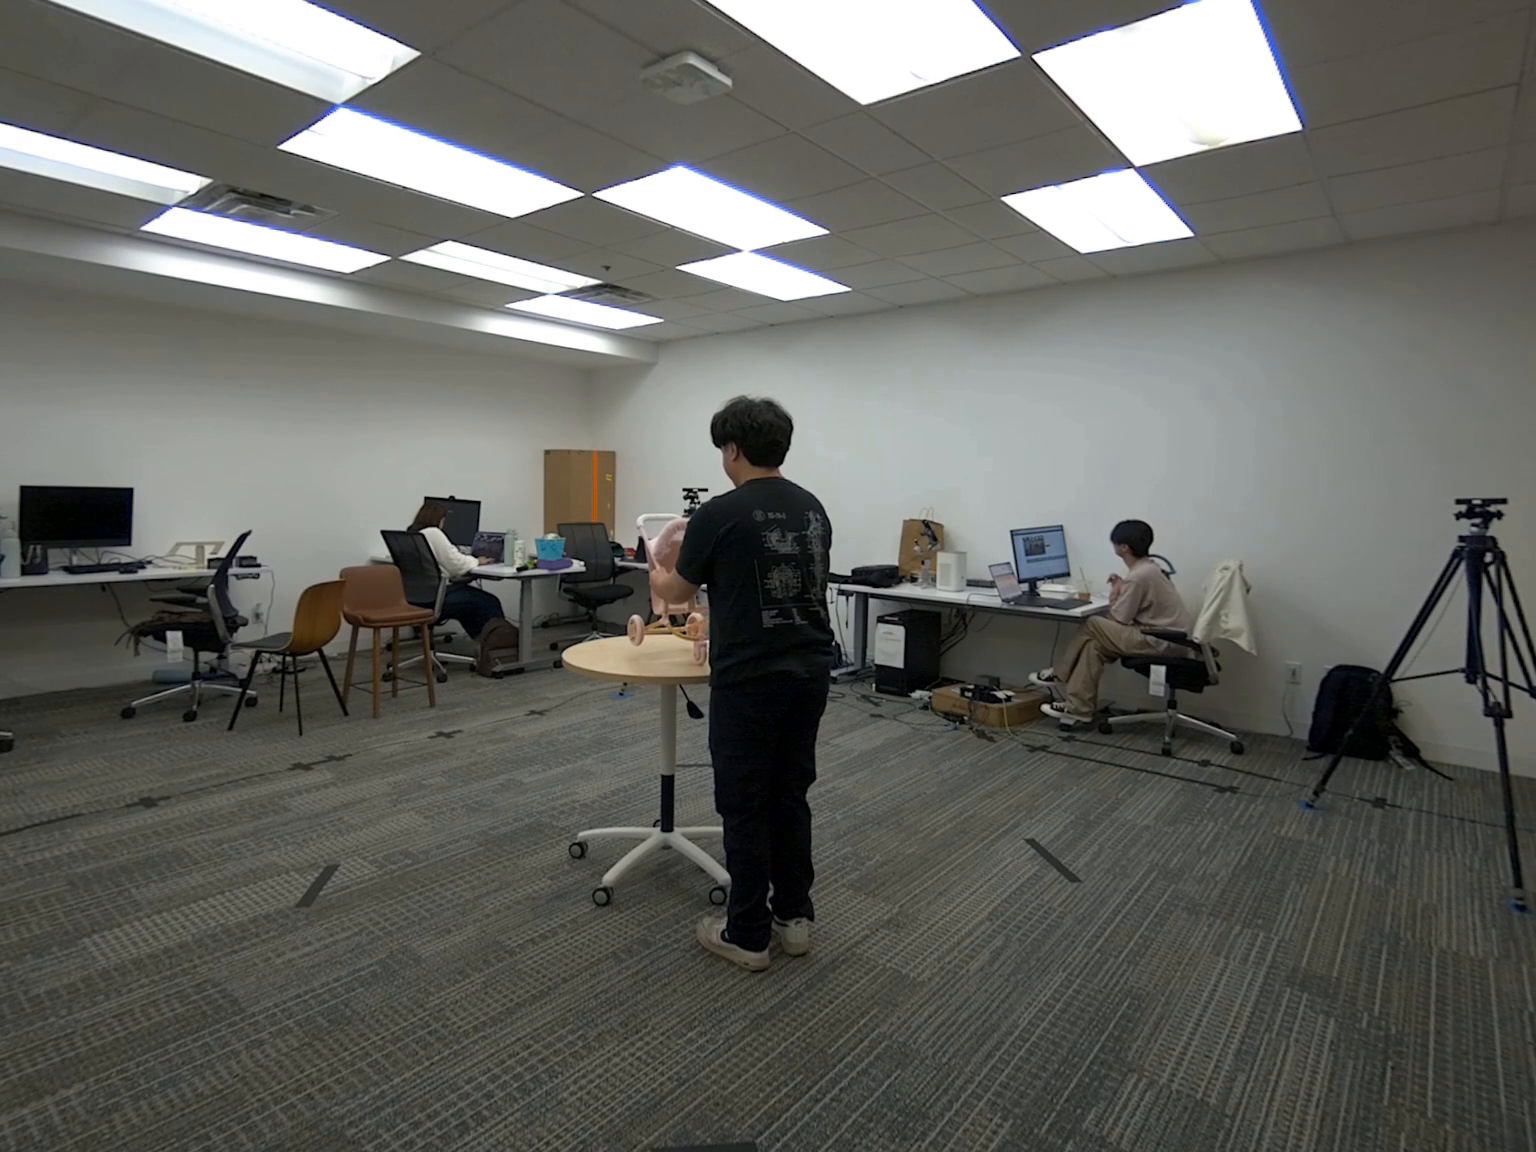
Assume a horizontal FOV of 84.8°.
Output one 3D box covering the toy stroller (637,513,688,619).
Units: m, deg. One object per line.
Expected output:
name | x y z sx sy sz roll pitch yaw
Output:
toy stroller | -0.326 0.030 3.005 0.274 0.537 0.350 1 -3 -30
